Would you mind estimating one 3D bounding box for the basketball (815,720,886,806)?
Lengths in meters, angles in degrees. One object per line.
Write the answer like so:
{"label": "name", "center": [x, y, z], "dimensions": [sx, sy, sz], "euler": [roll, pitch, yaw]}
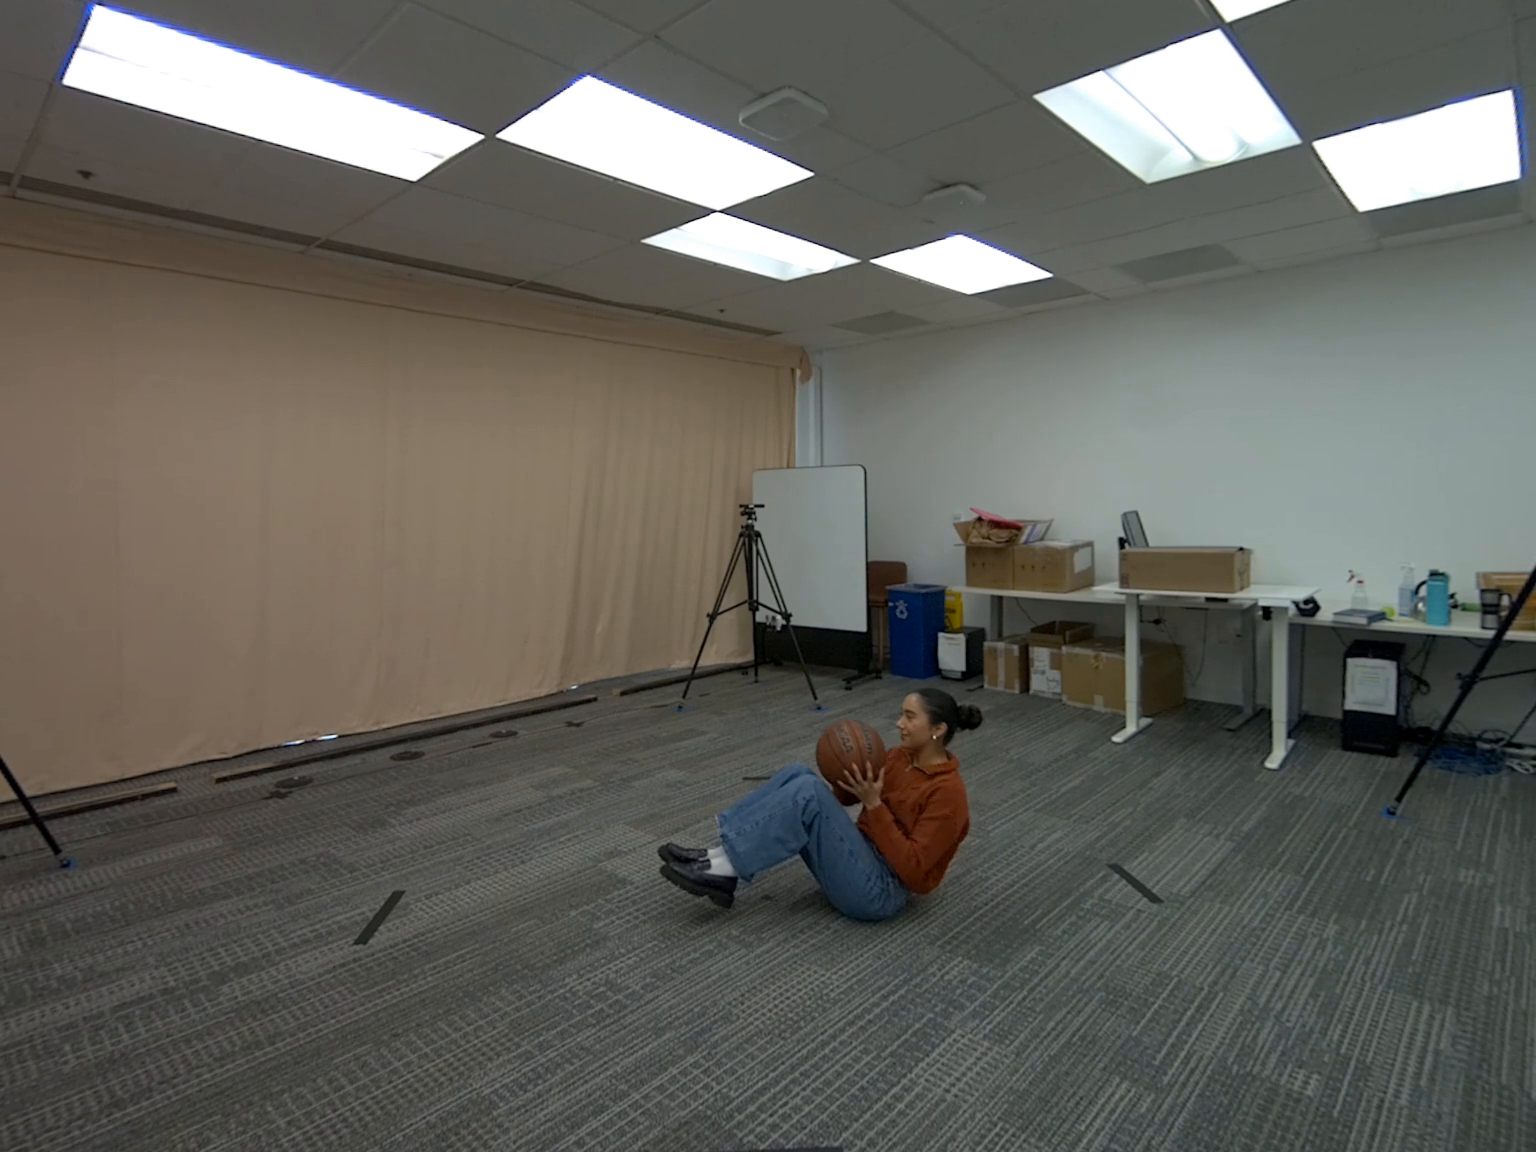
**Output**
{"label": "basketball", "center": [0.306, 0.631, 2.857], "dimensions": [0.236, 0.235, 0.237], "euler": [-1, 4, -2]}
